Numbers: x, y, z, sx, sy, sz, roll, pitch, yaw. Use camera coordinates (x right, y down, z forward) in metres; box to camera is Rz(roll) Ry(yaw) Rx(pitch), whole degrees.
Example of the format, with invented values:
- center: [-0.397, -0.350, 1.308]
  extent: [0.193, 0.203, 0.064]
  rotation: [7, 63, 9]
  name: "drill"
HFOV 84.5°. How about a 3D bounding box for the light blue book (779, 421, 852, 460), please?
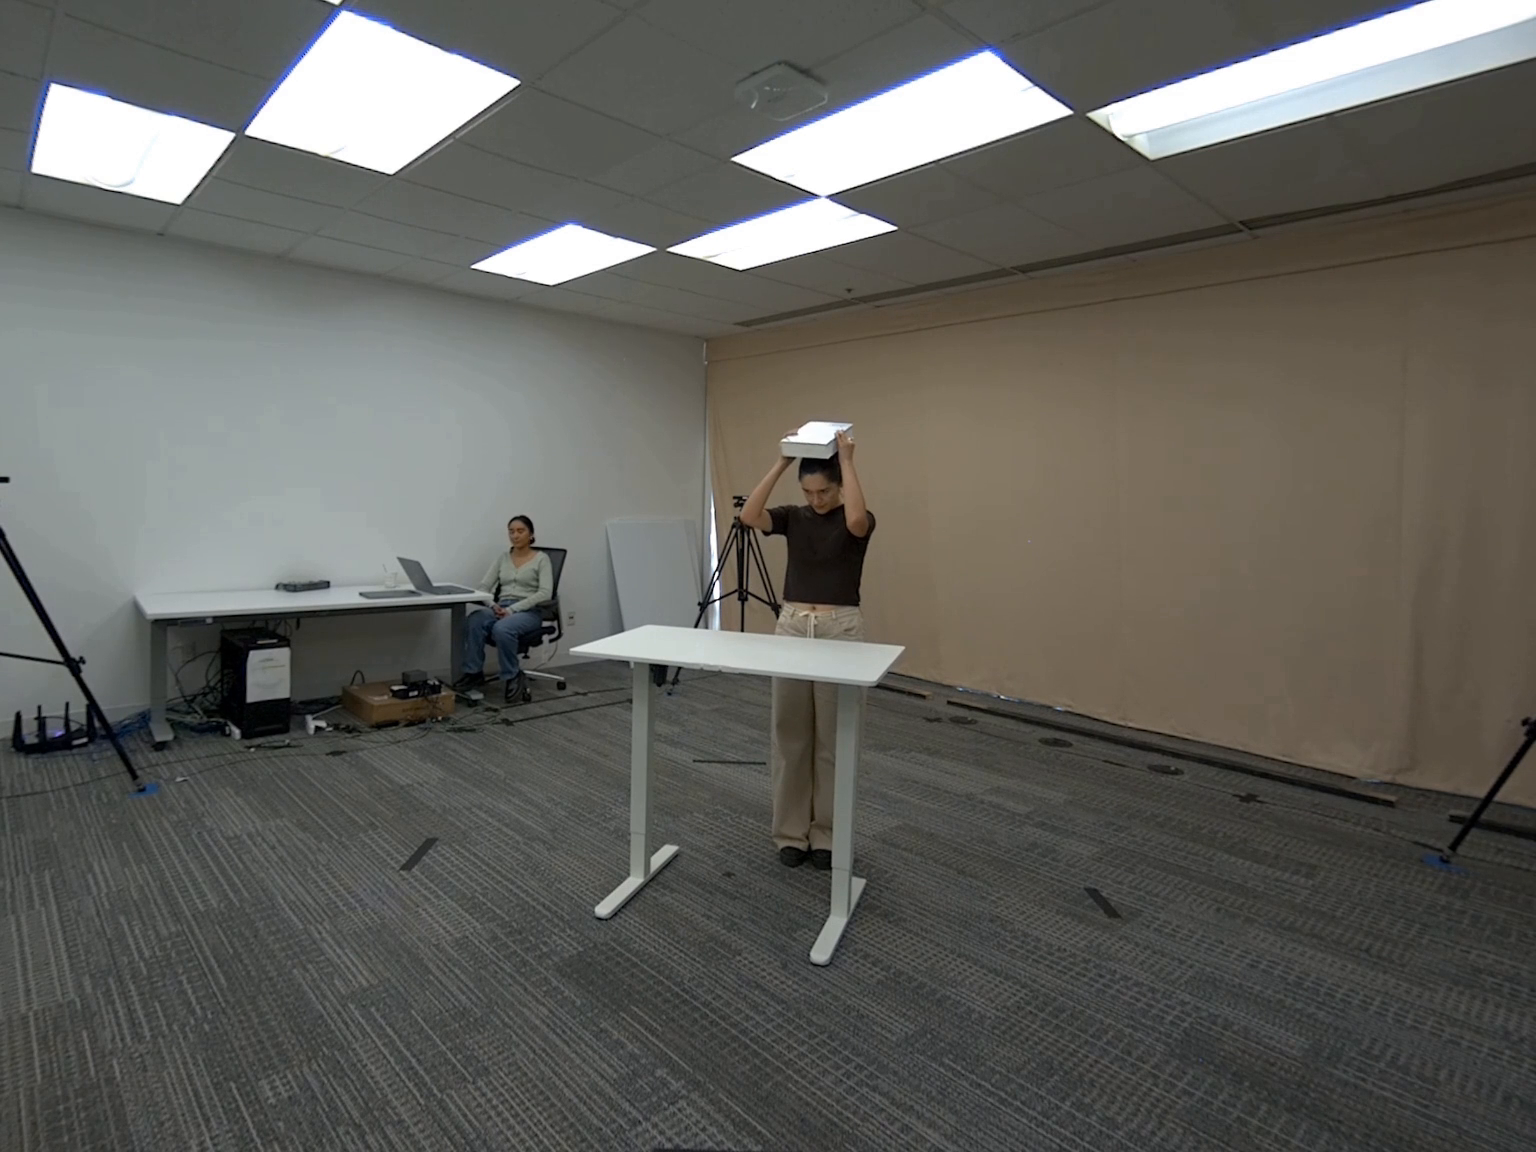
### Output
- center: [0.188, -0.515, 3.157]
  extent: [0.195, 0.058, 0.260]
  rotation: [8, 29, 26]
  name: "light blue book"
